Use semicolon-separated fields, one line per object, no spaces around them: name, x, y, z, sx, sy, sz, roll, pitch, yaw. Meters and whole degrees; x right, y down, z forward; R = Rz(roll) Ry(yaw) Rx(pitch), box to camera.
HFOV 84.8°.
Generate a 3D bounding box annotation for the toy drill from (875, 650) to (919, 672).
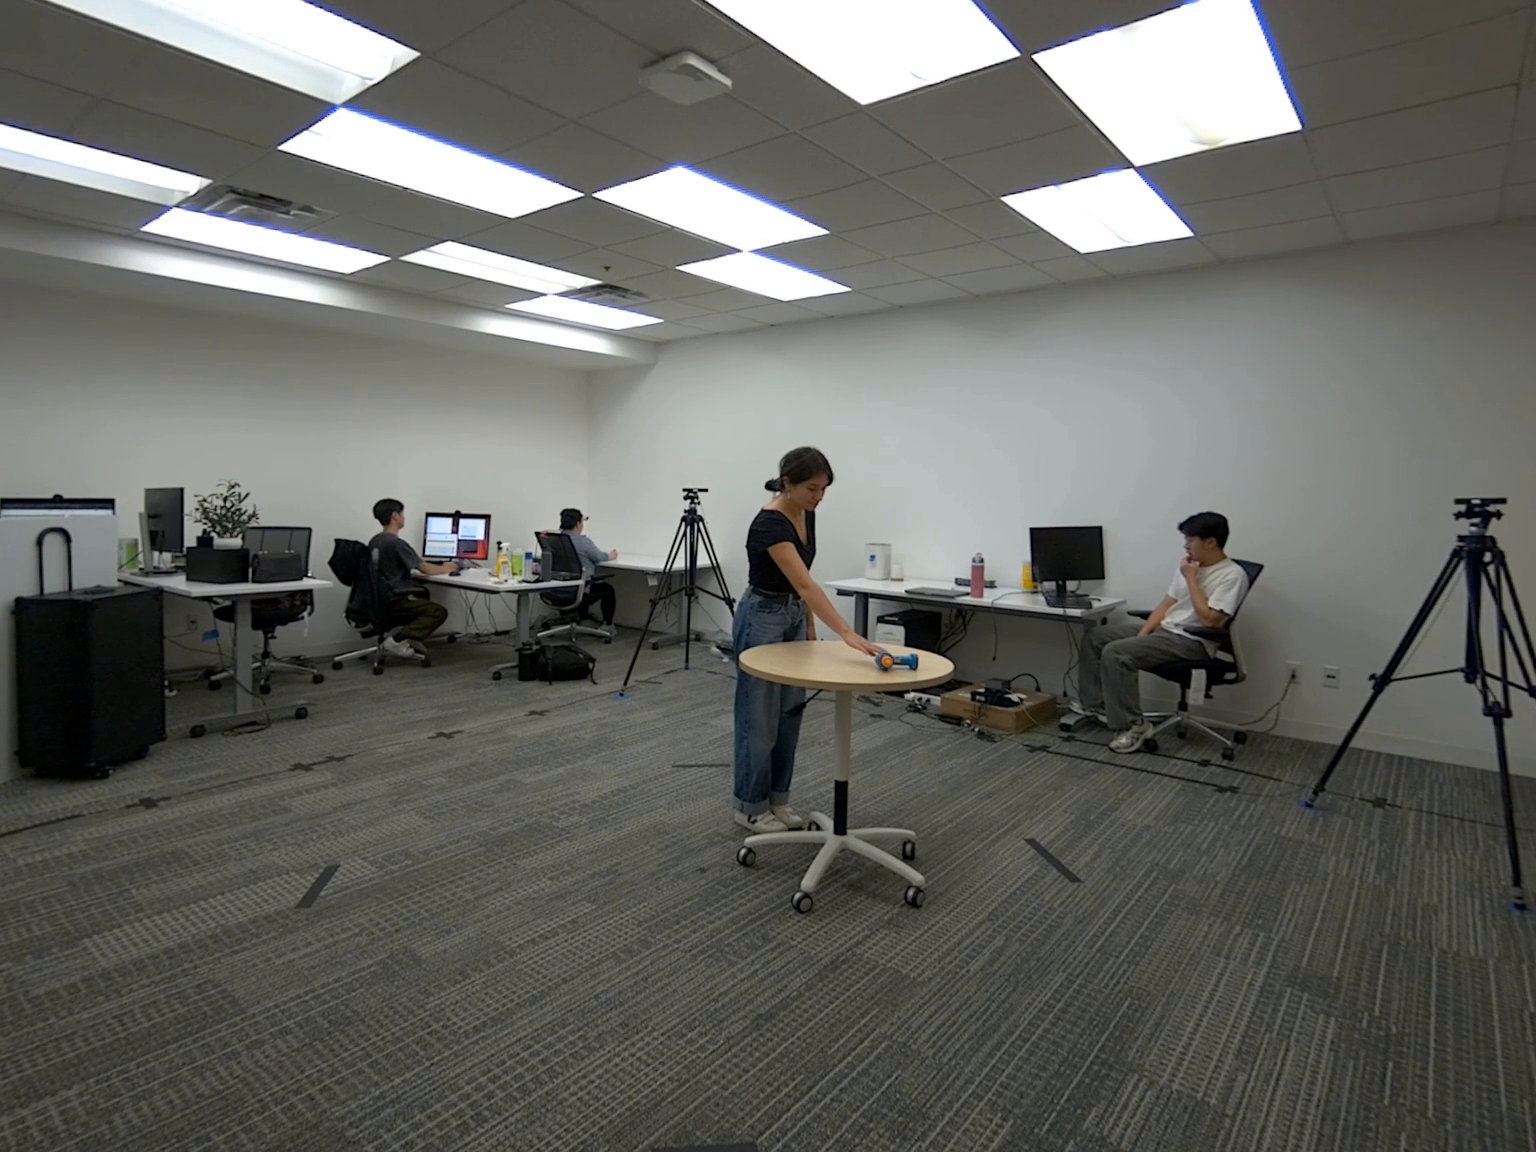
toy drill;0.448;0.283;2.900;0.146;0.061;0.169;1;-2;-3
